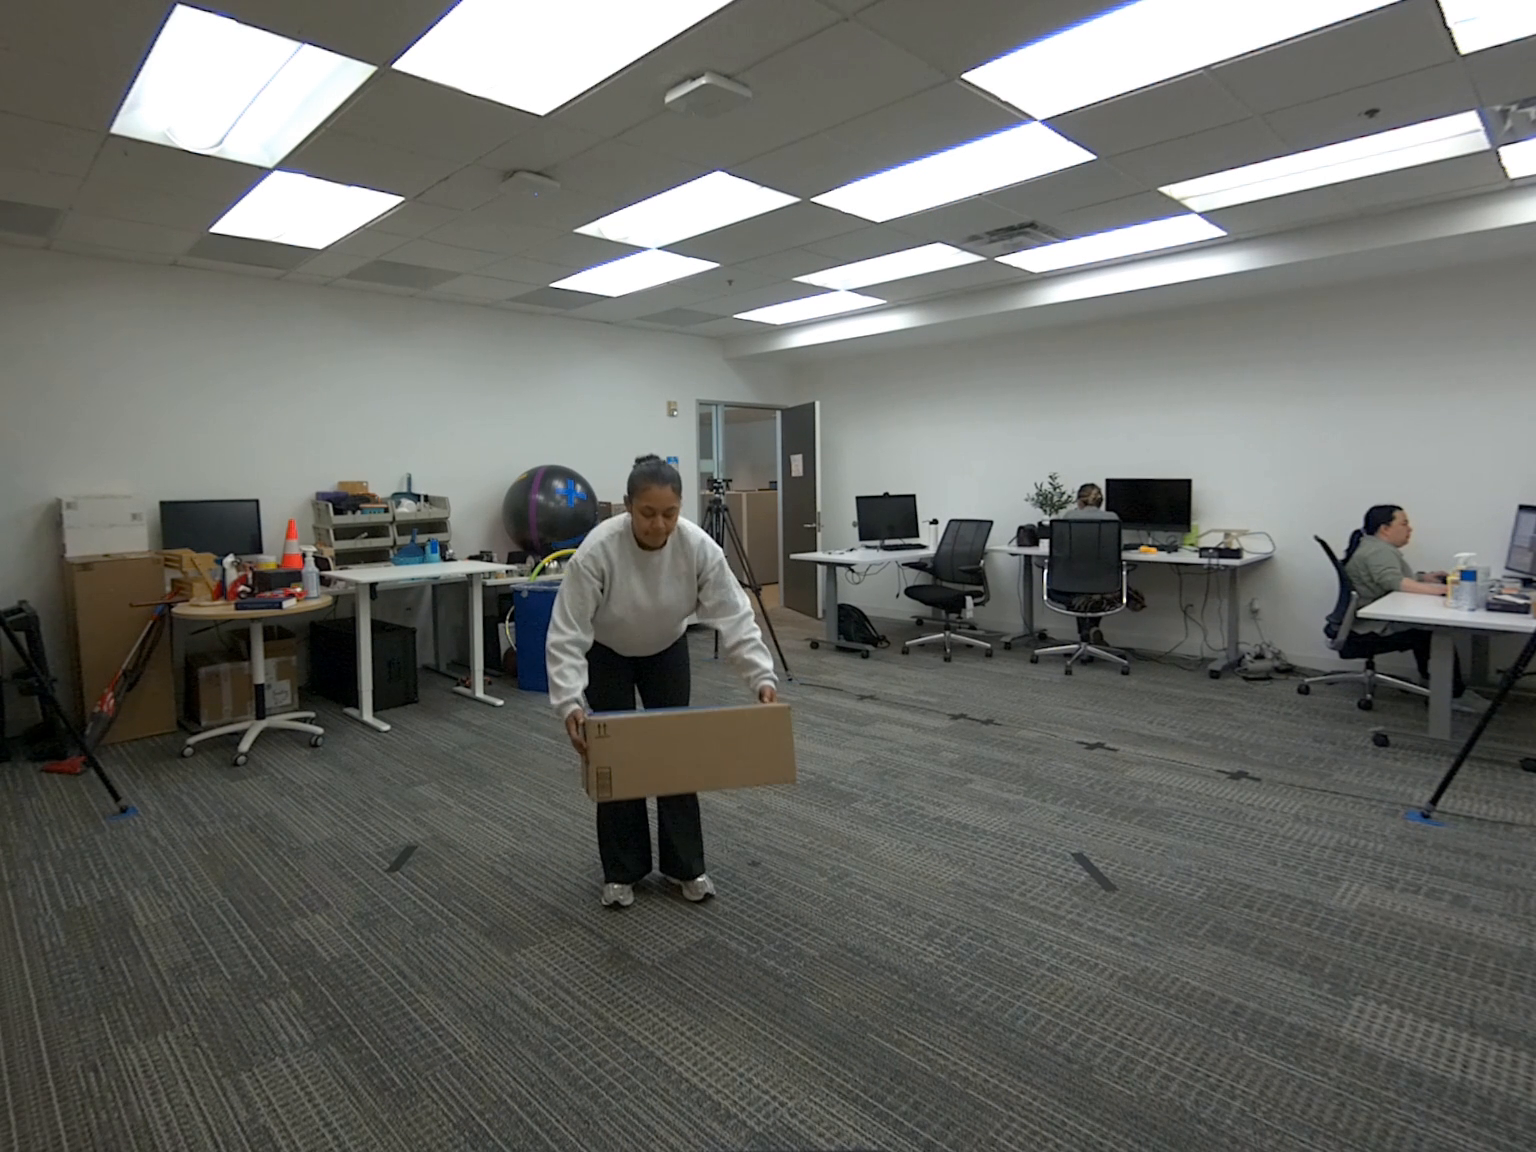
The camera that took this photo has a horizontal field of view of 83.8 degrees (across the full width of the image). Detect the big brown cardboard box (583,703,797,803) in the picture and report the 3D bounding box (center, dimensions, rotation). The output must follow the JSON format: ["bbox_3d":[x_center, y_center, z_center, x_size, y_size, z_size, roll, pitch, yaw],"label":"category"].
[{"bbox_3d":[-0.259,0.508,2.510,0.581,0.235,0.419,-1,-8,-15],"label":"big brown cardboard box"}]
